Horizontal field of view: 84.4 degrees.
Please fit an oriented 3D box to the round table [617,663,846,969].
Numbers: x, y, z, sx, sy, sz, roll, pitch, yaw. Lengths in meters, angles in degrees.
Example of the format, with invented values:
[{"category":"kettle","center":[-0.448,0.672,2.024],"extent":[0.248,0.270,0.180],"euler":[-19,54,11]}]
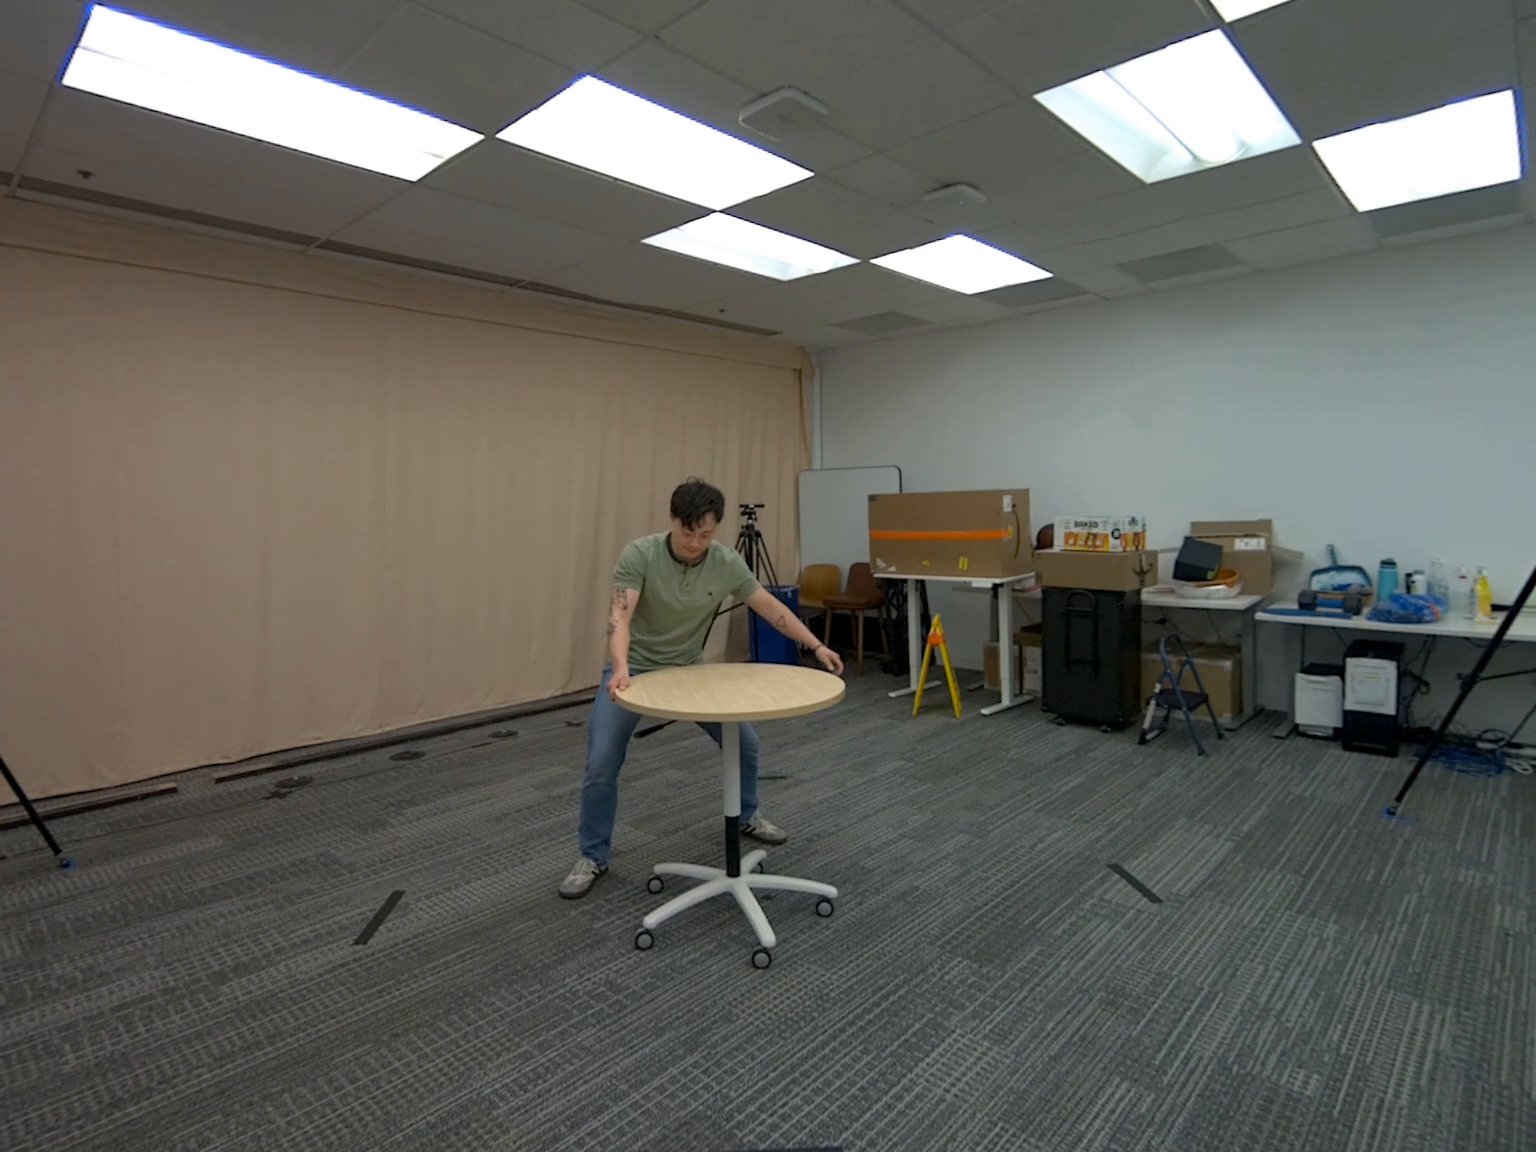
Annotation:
[{"category":"round table","center":[-0.118,0.762,2.839],"extent":[0.763,0.792,0.767],"euler":[-1,4,-2]}]
